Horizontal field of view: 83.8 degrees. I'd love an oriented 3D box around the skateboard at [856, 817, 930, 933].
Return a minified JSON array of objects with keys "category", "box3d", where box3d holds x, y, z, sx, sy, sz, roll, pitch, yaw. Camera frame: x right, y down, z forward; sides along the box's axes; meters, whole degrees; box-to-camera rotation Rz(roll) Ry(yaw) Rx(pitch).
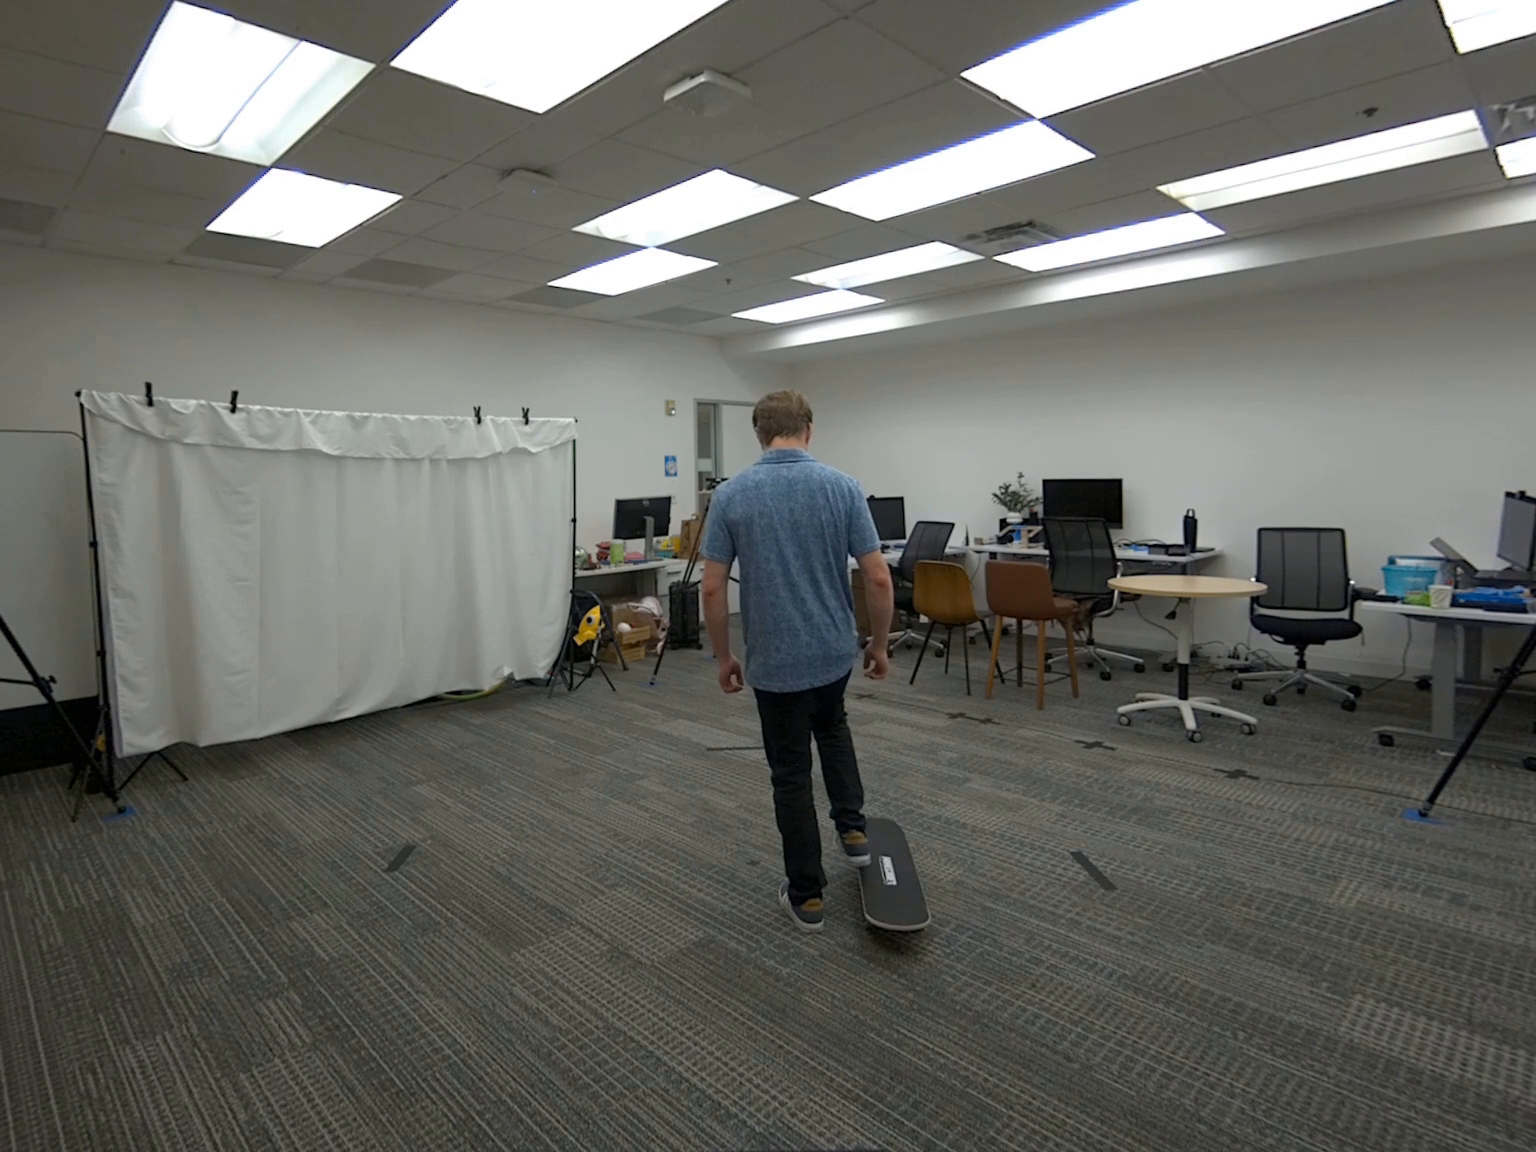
[{"category":"skateboard","box3d":[0.397,1.002,2.841,0.194,0.110,0.787,-1,7,2]}]
